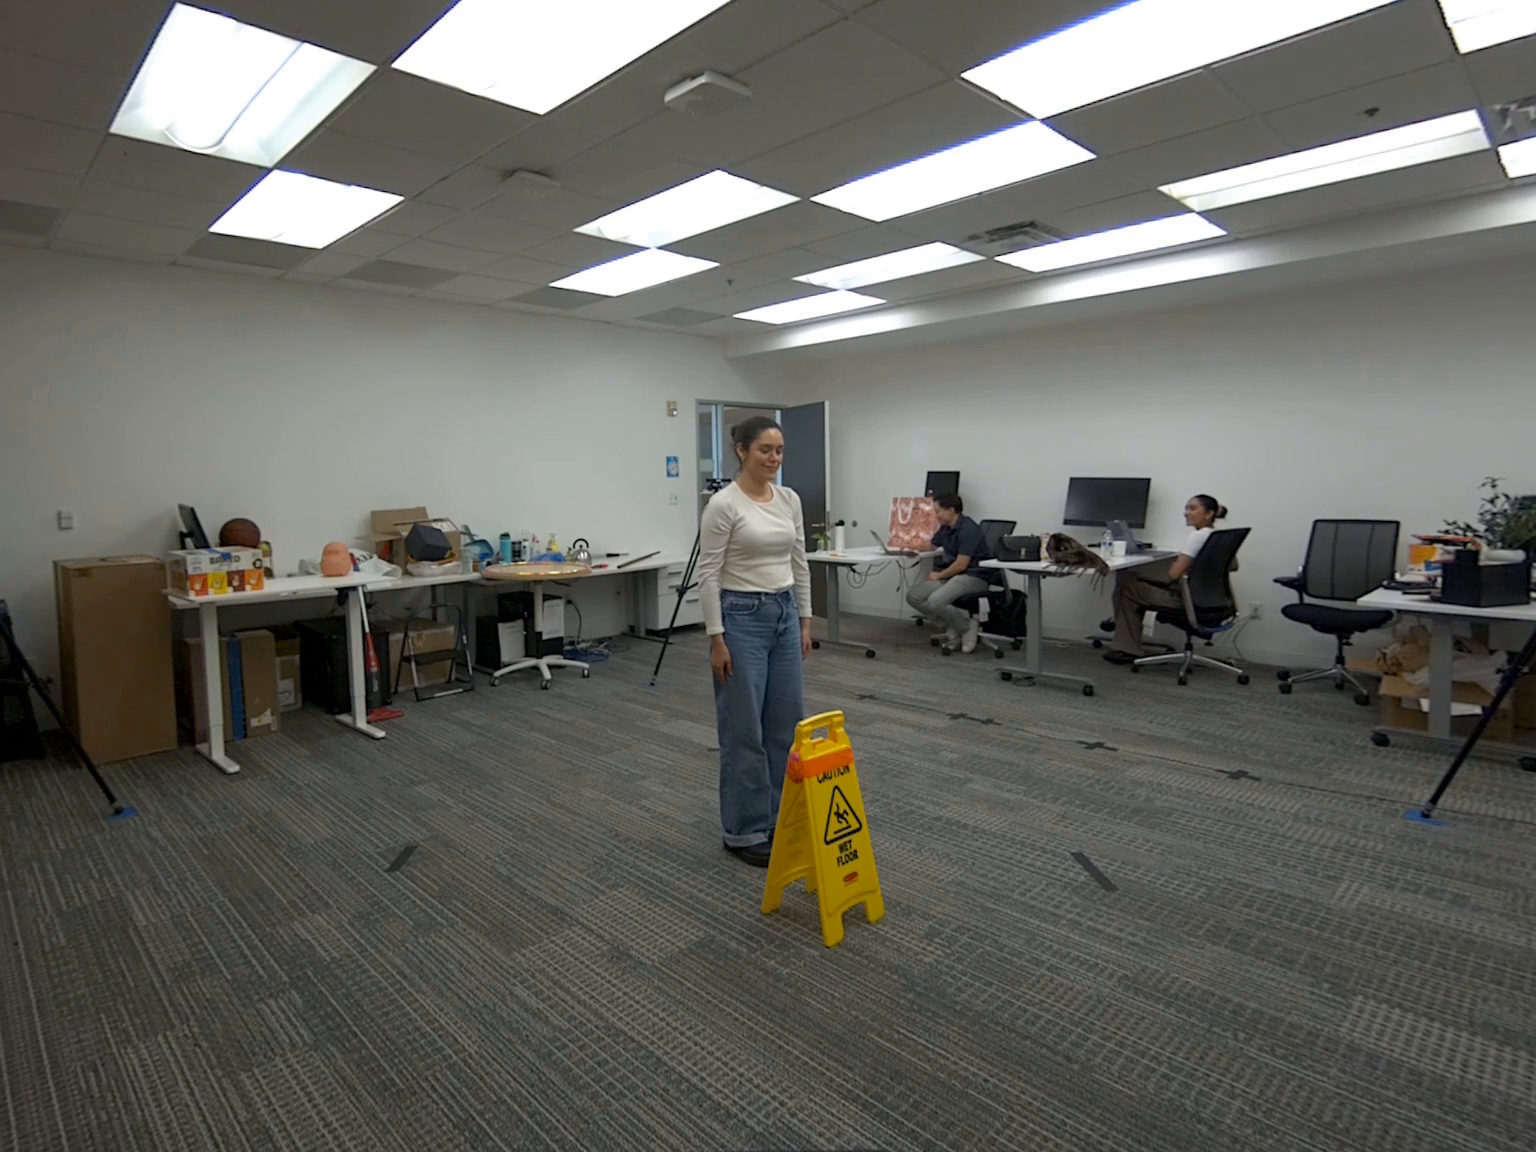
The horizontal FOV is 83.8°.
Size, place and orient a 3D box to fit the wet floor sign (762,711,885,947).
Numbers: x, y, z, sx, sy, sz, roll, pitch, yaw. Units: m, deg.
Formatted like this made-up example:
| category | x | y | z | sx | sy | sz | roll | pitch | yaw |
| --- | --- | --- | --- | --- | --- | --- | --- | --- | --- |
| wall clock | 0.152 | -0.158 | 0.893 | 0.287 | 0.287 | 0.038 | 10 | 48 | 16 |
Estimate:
| category | x | y | z | sx | sy | sz | roll | pitch | yaw |
| --- | --- | --- | --- | --- | --- | --- | --- | --- | --- |
| wet floor sign | 0.167 | 0.763 | 2.717 | 0.275 | 0.644 | 0.298 | -4 | 4 | -43 |
